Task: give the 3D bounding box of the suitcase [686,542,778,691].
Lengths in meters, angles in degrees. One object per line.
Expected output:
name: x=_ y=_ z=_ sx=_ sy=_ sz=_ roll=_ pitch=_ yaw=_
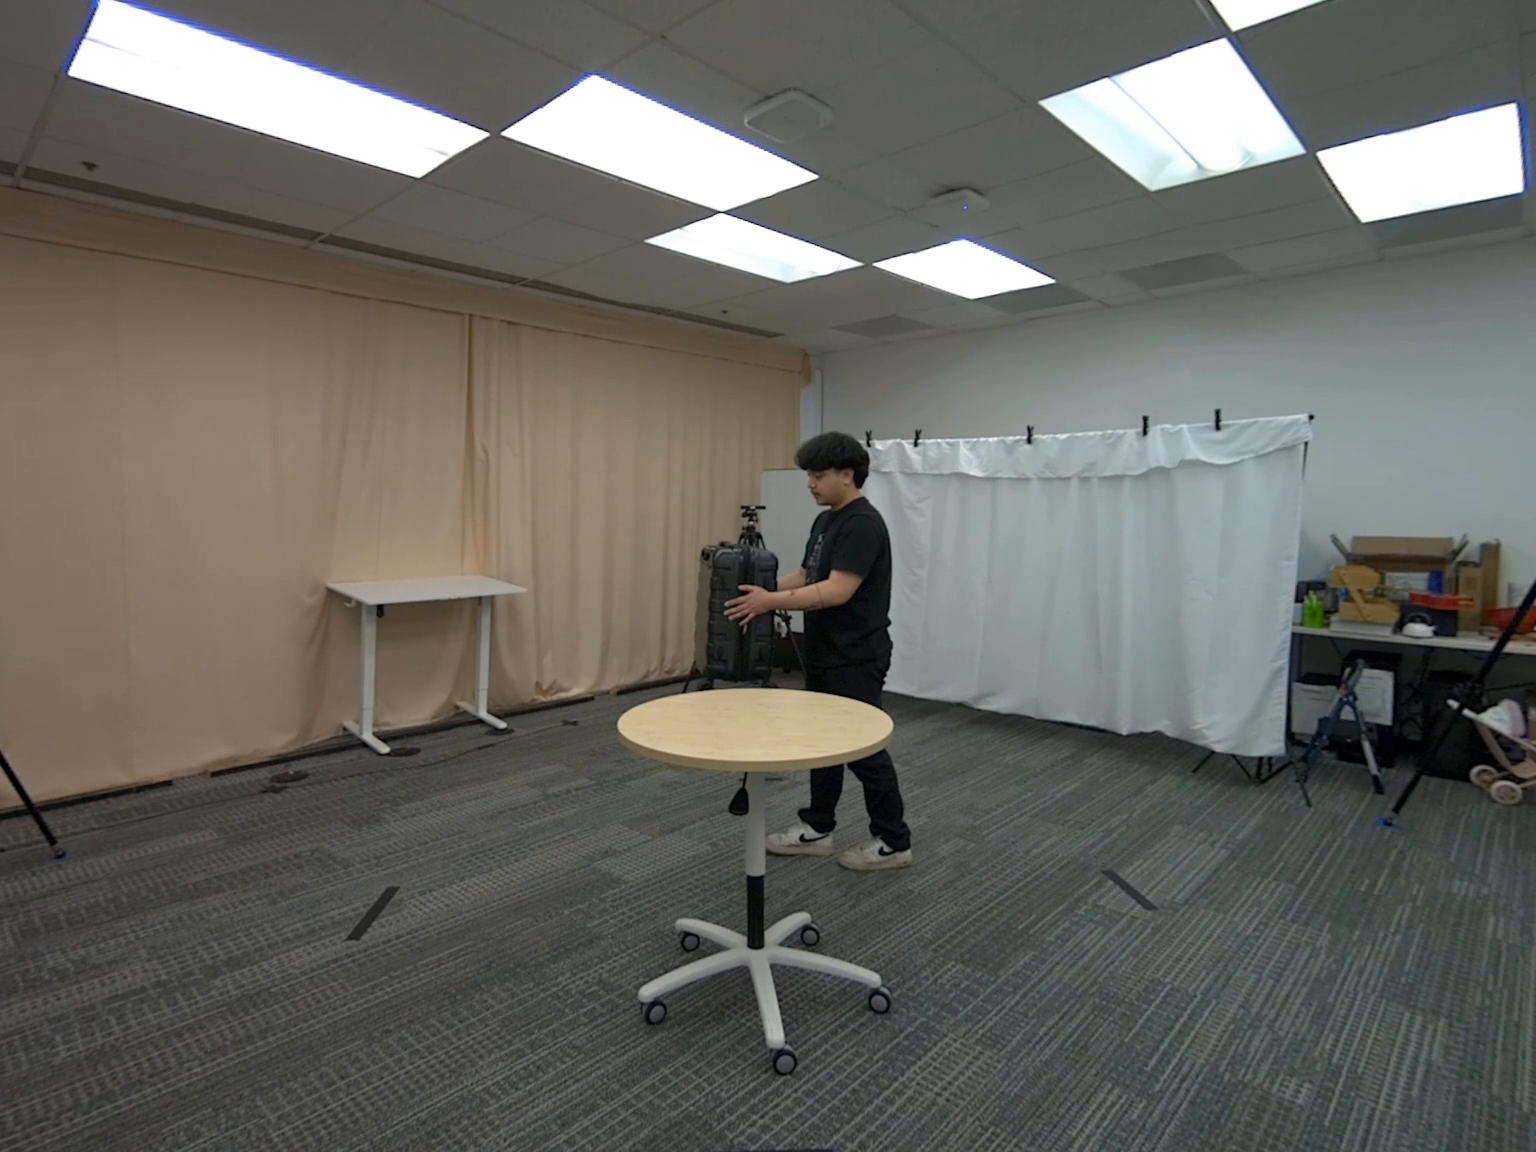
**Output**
suitcase: x=-0.118 y=0.147 z=3.223 sx=0.245 sy=0.549 sz=0.380 roll=3 pitch=2 yaw=-12
